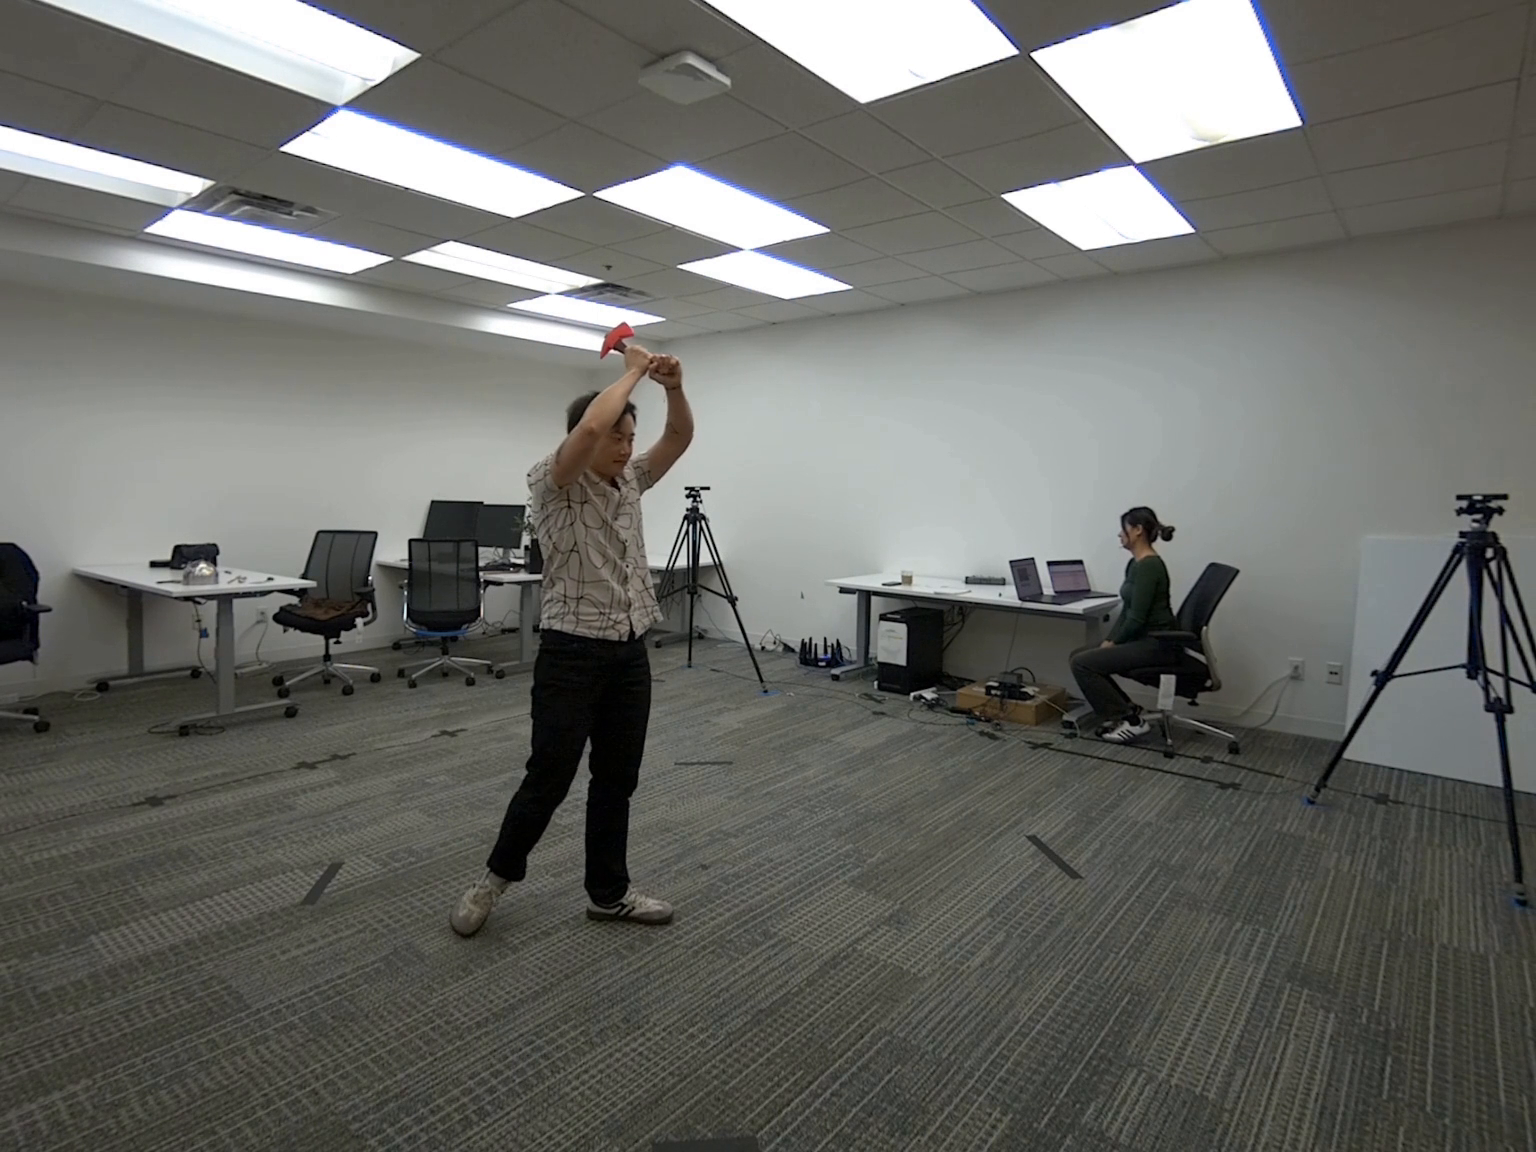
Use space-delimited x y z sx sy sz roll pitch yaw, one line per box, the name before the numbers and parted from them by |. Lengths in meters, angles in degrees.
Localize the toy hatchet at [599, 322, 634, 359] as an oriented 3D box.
toy hatchet | -0.388 -0.696 2.557 0.278 0.131 0.029 16 -6 23
